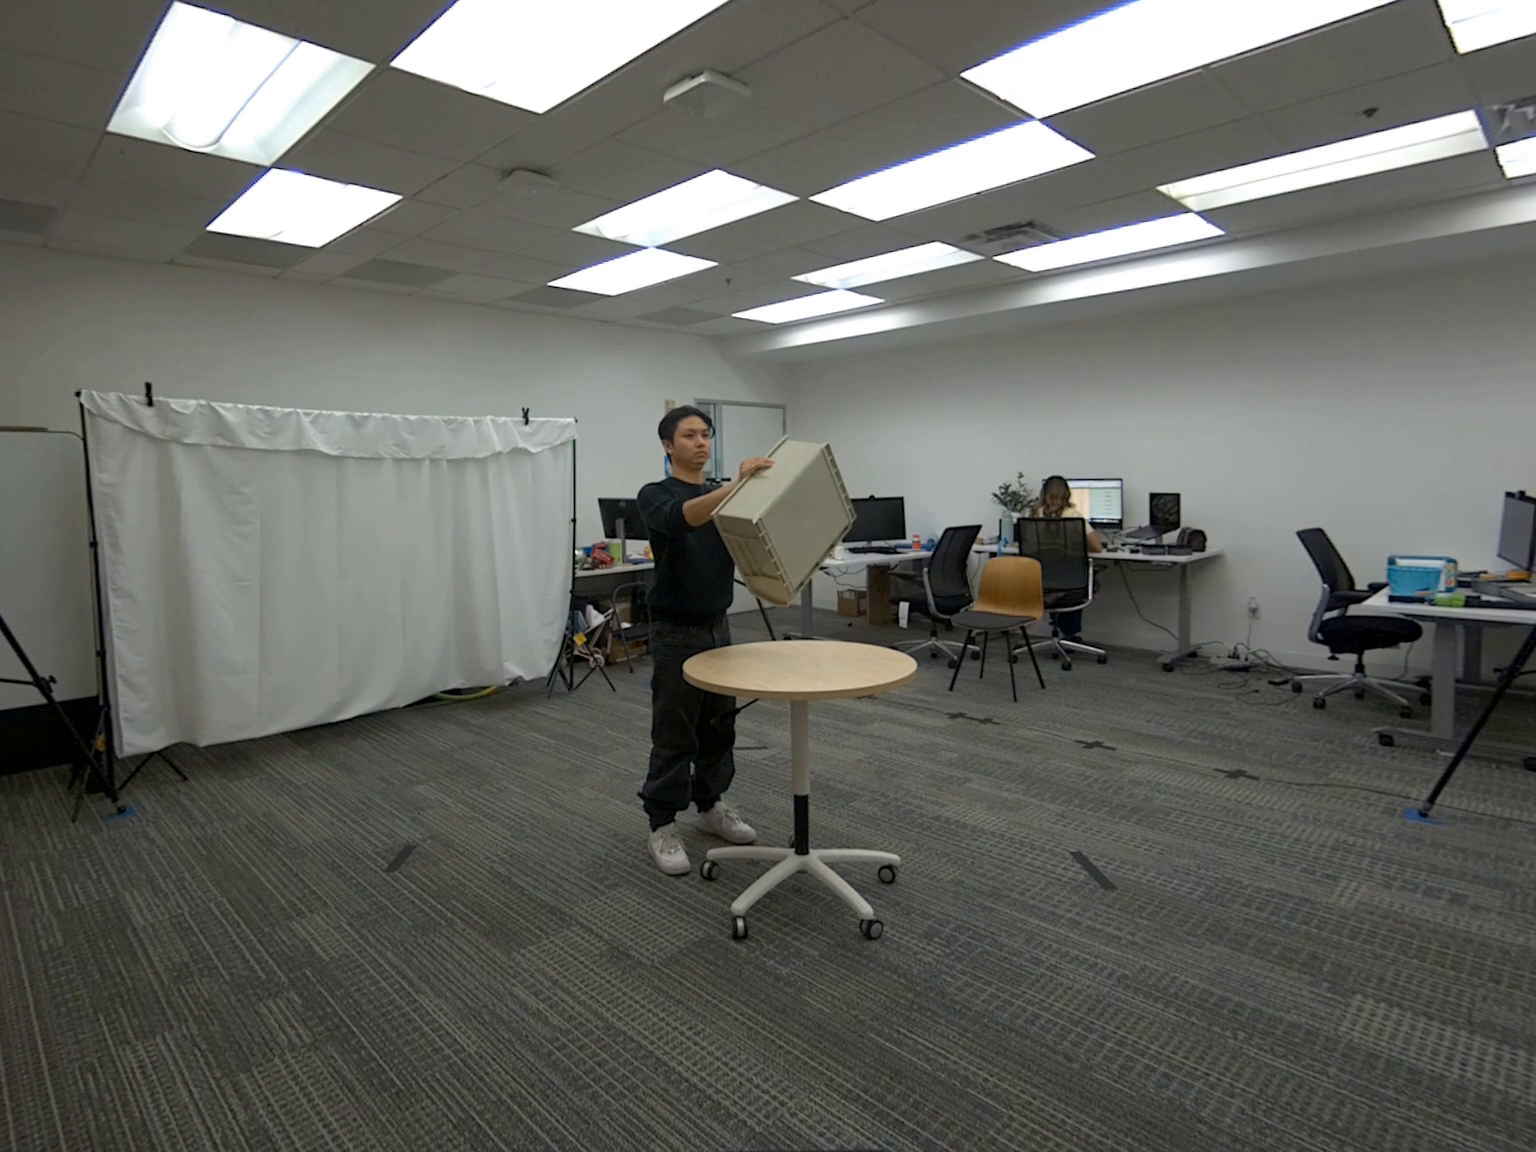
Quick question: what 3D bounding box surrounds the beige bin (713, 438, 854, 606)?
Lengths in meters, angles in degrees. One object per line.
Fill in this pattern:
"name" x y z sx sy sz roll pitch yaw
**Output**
"beige bin" 0.071 -0.179 2.805 0.195 0.364 0.422 12 49 42
